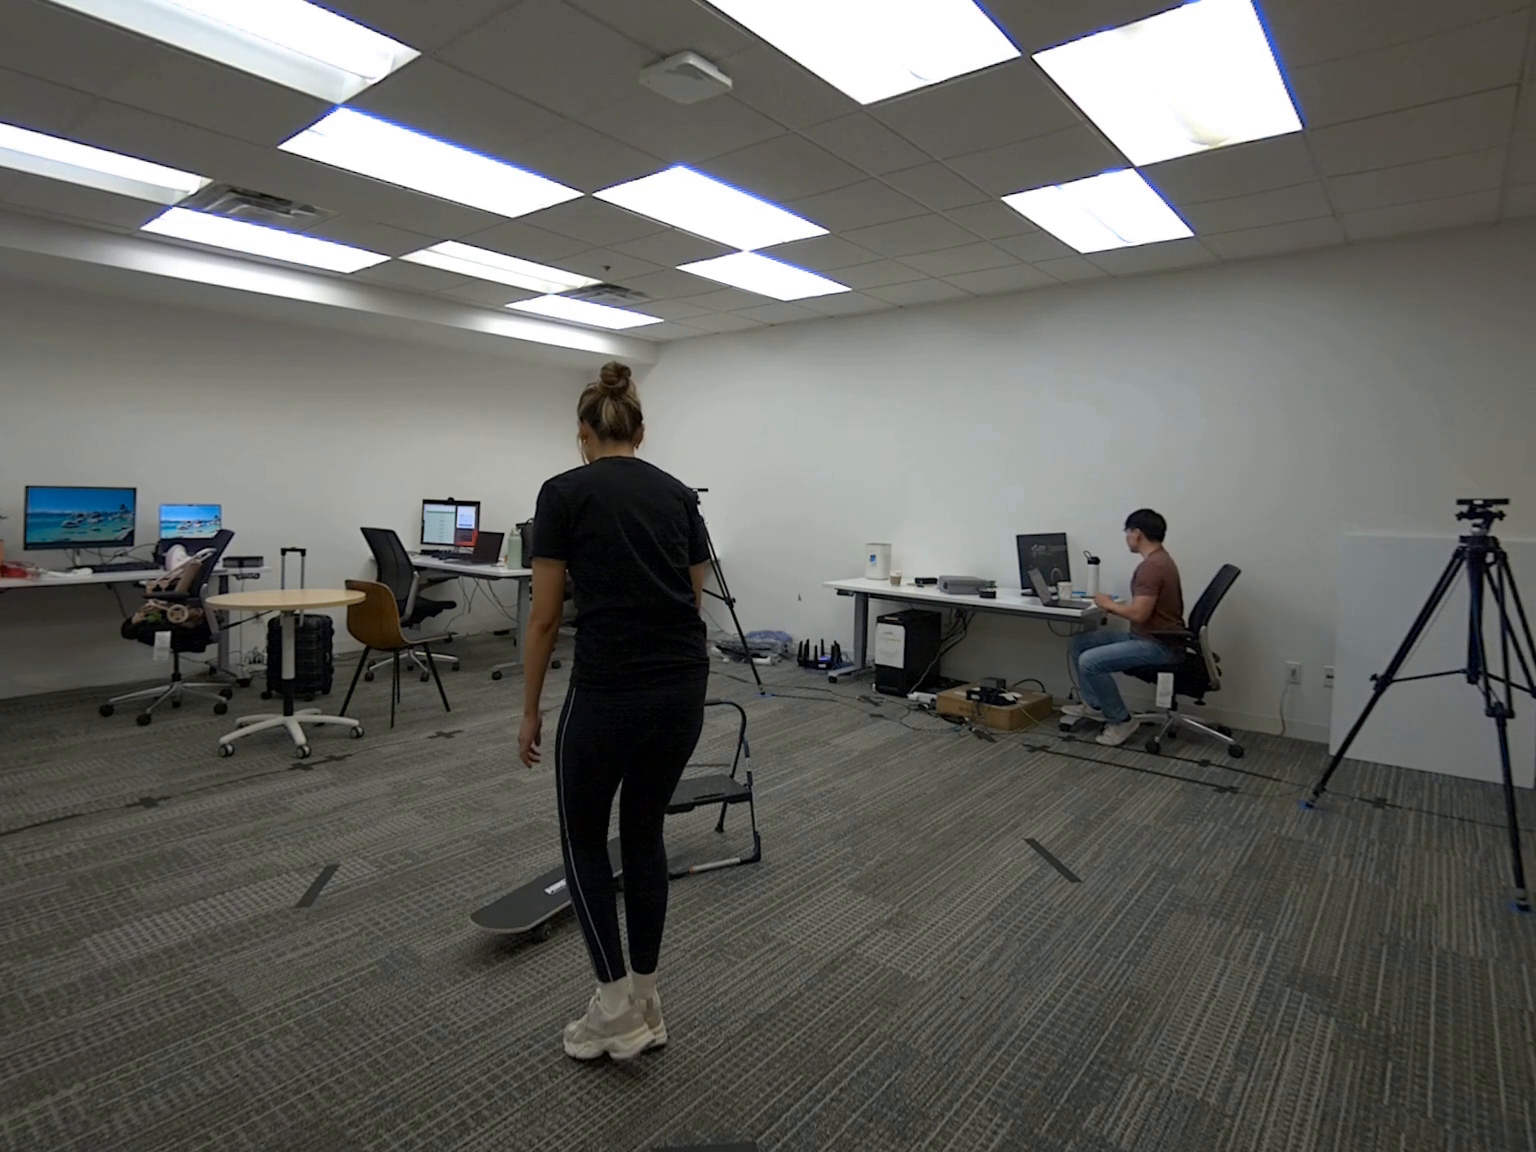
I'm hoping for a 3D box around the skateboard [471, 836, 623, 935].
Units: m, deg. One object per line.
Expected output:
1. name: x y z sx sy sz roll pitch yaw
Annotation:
1. skateboard: -0.668 1.036 2.809 0.199 0.110 0.766 5 7 29
